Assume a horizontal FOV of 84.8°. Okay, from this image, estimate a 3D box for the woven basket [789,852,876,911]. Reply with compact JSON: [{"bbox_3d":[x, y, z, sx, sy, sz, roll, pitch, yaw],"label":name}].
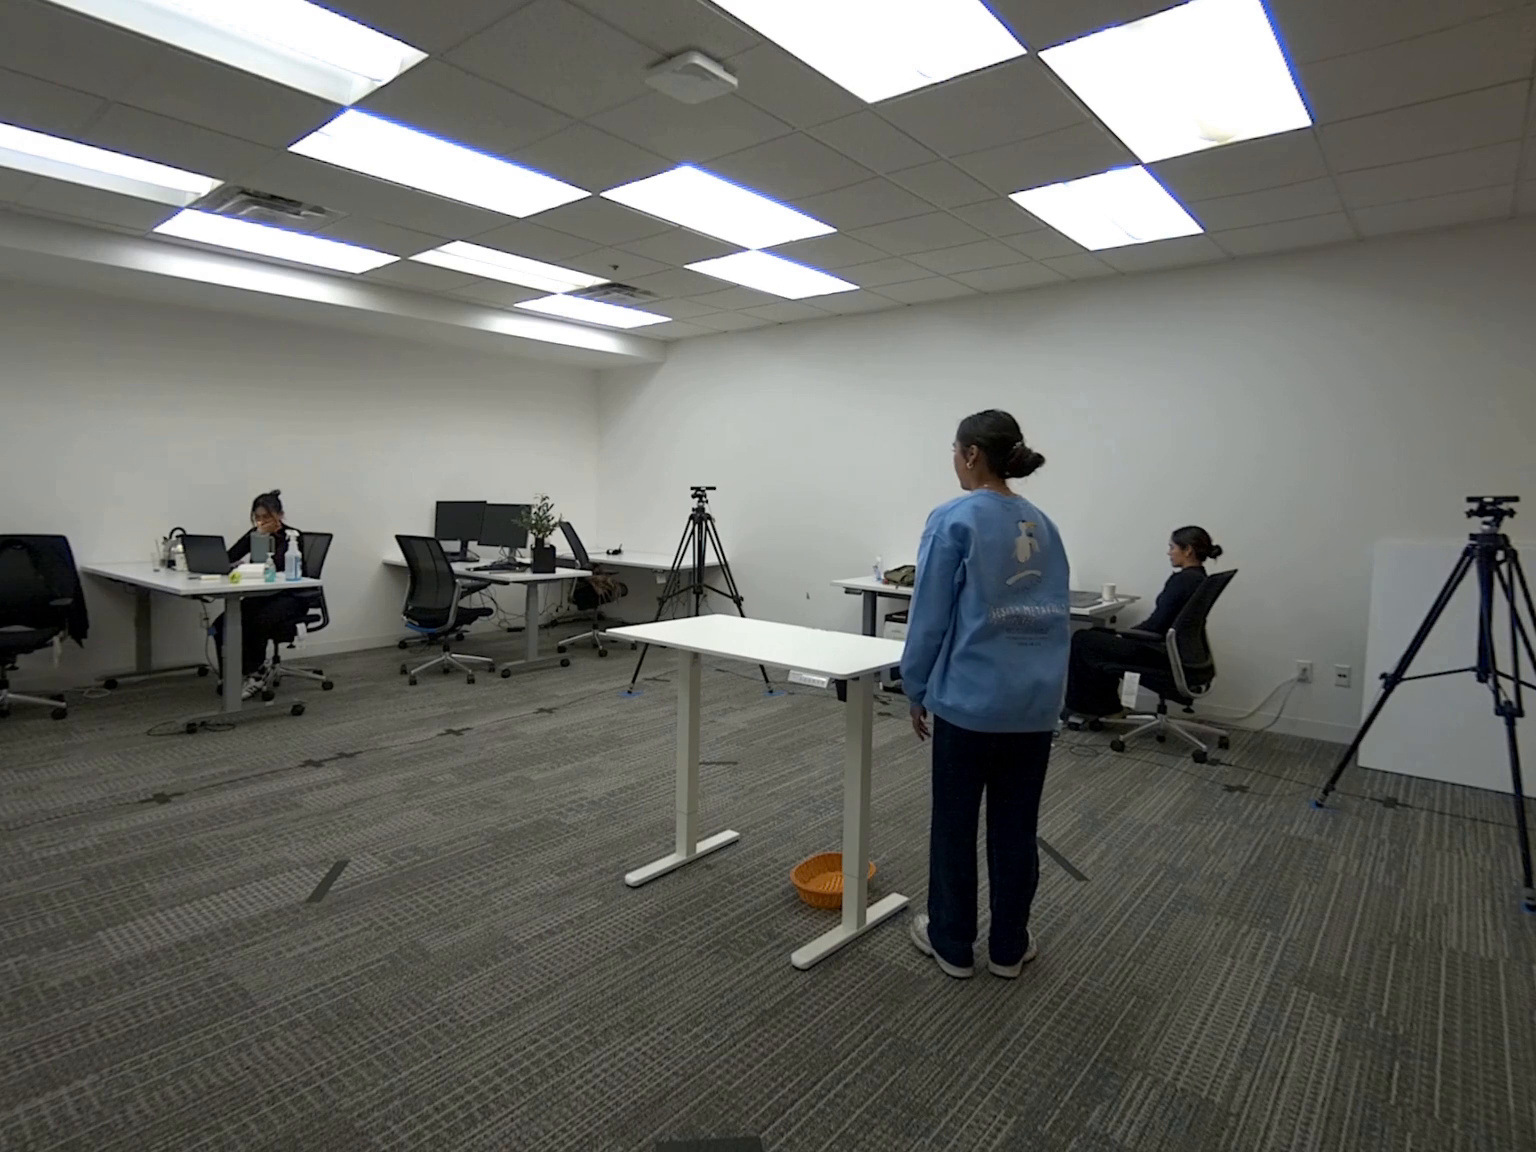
[{"bbox_3d":[0.219,1.048,2.945,0.260,0.073,0.340,3,6,36],"label":"woven basket"}]
